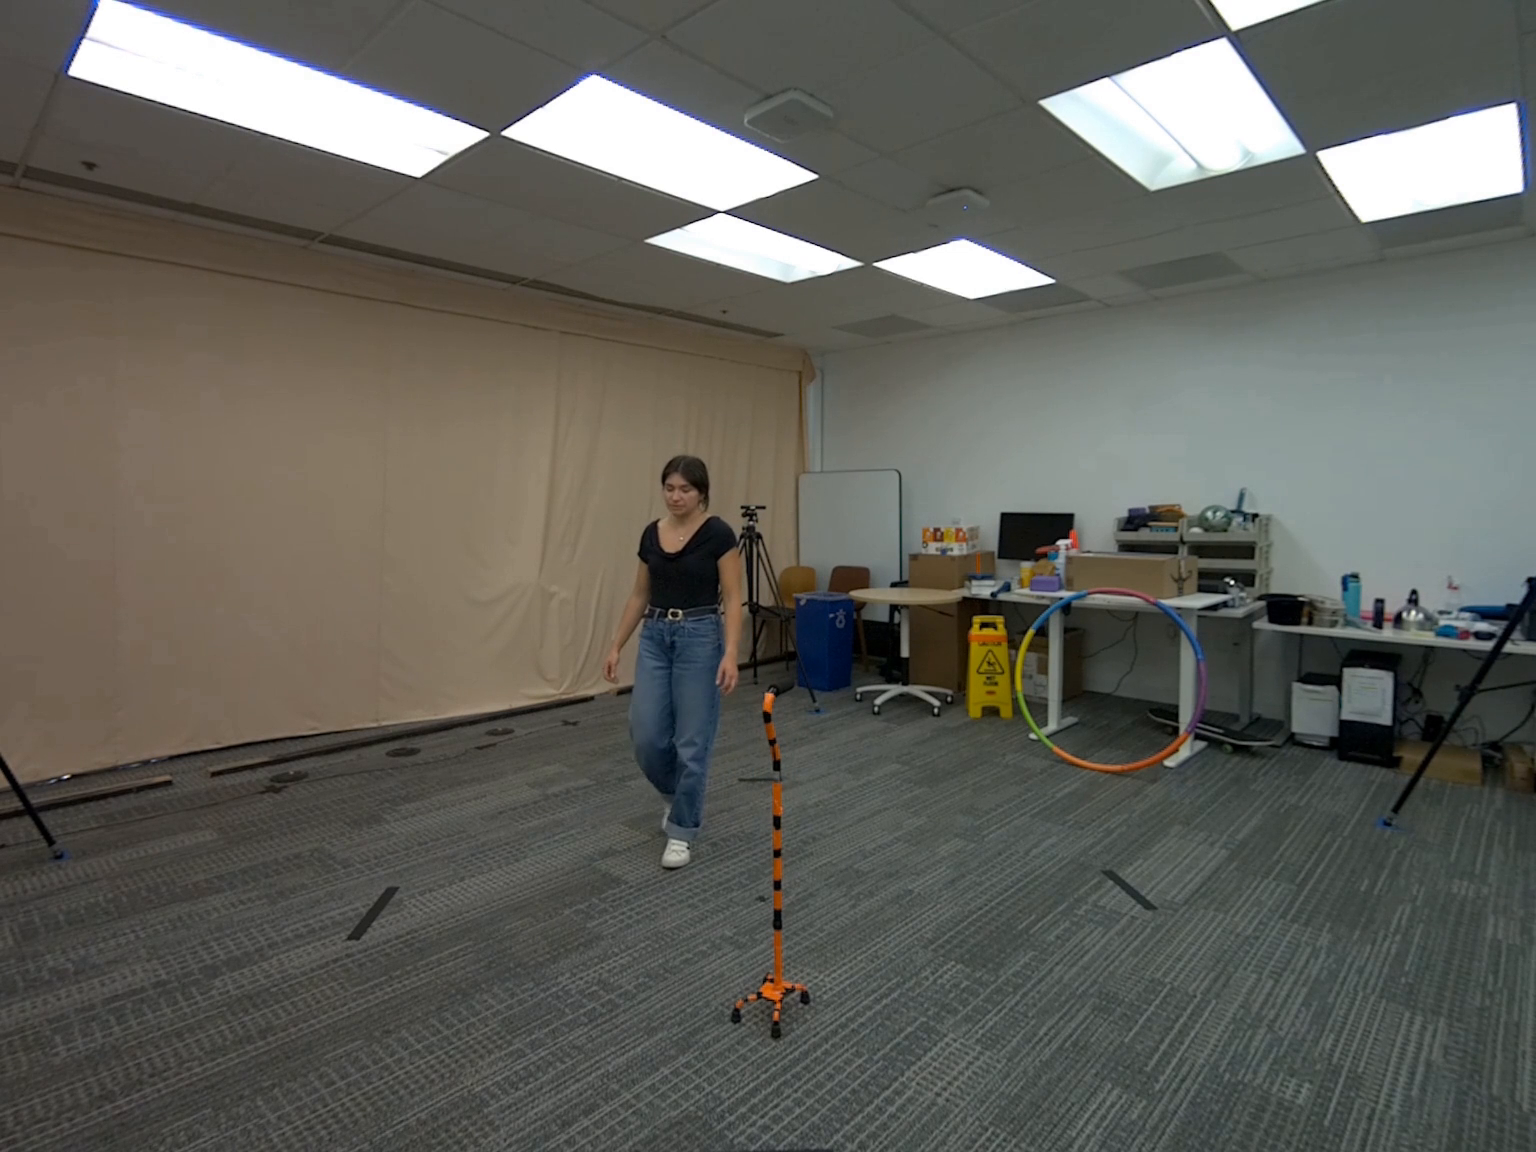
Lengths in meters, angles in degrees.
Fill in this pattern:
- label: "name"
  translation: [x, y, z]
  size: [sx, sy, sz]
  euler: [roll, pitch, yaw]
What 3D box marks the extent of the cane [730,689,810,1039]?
- label: "cane"
  translation: [0.020, 0.753, 2.291]
  size: [0.156, 0.906, 0.201]
  euler: [2, 4, 28]
